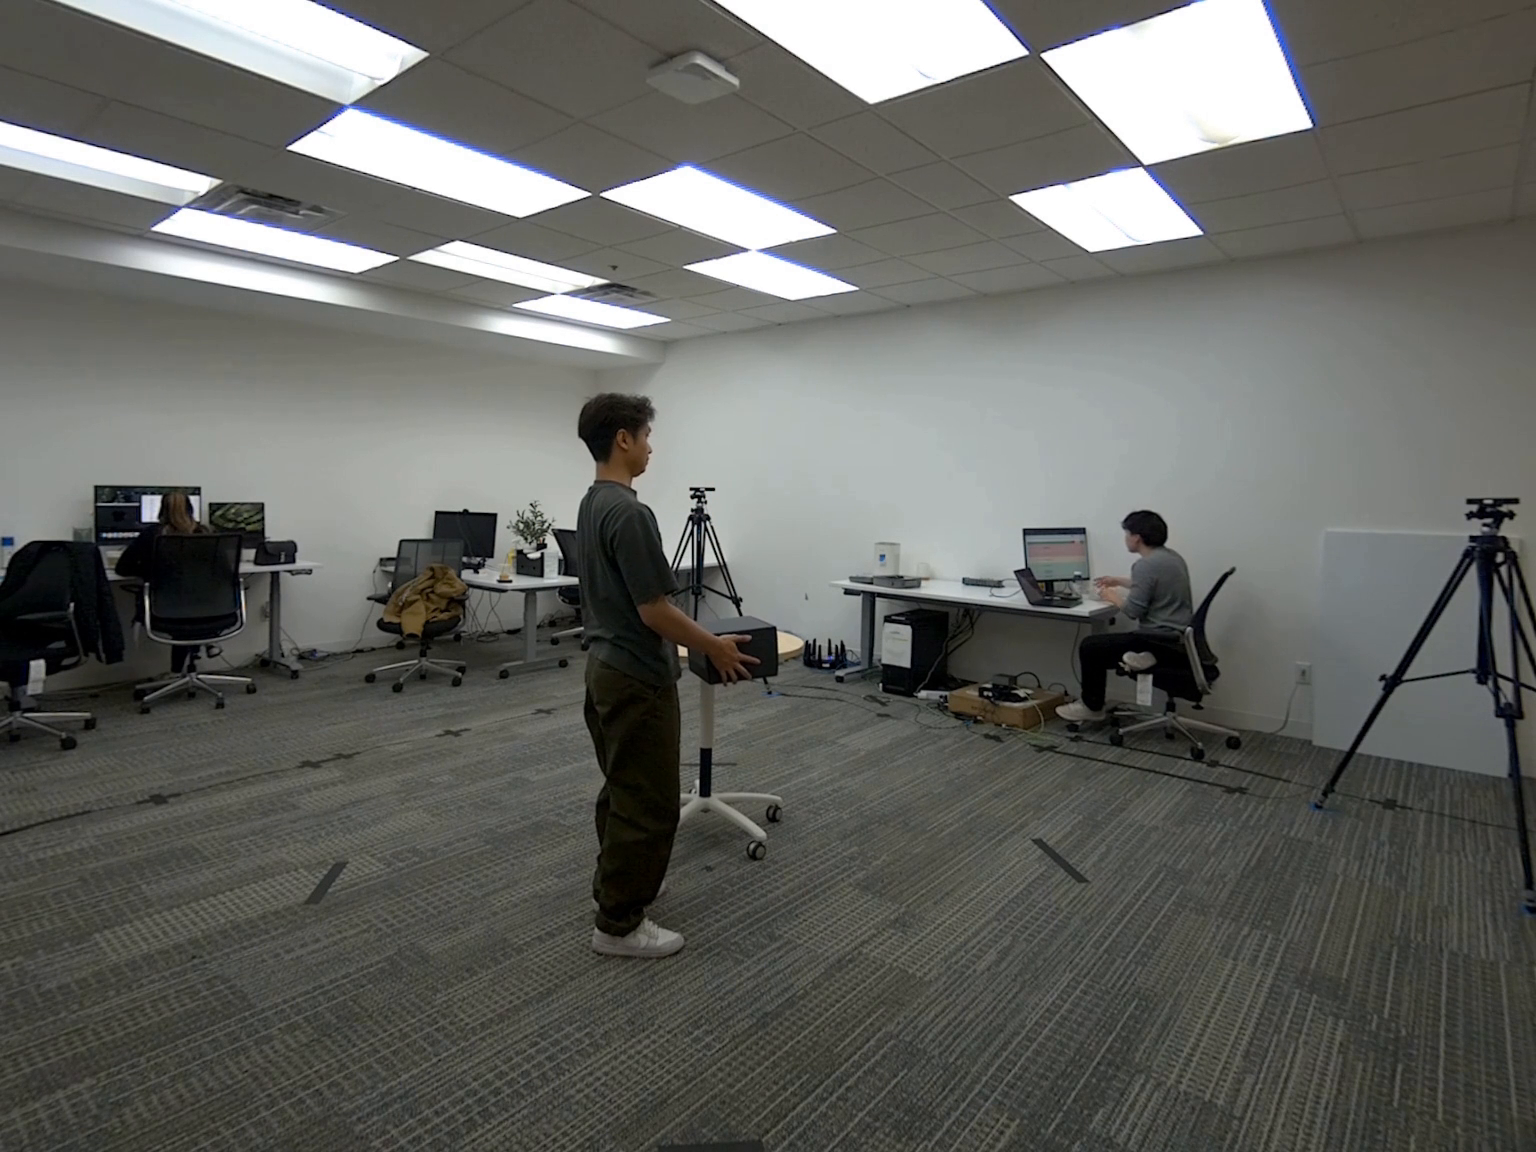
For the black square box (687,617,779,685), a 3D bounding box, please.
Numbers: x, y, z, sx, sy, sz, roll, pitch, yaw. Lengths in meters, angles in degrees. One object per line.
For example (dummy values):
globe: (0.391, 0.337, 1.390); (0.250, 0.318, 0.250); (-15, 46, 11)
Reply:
black square box: (-0.131, 0.227, 2.673); (0.224, 0.155, 0.222); (-4, 6, -17)
